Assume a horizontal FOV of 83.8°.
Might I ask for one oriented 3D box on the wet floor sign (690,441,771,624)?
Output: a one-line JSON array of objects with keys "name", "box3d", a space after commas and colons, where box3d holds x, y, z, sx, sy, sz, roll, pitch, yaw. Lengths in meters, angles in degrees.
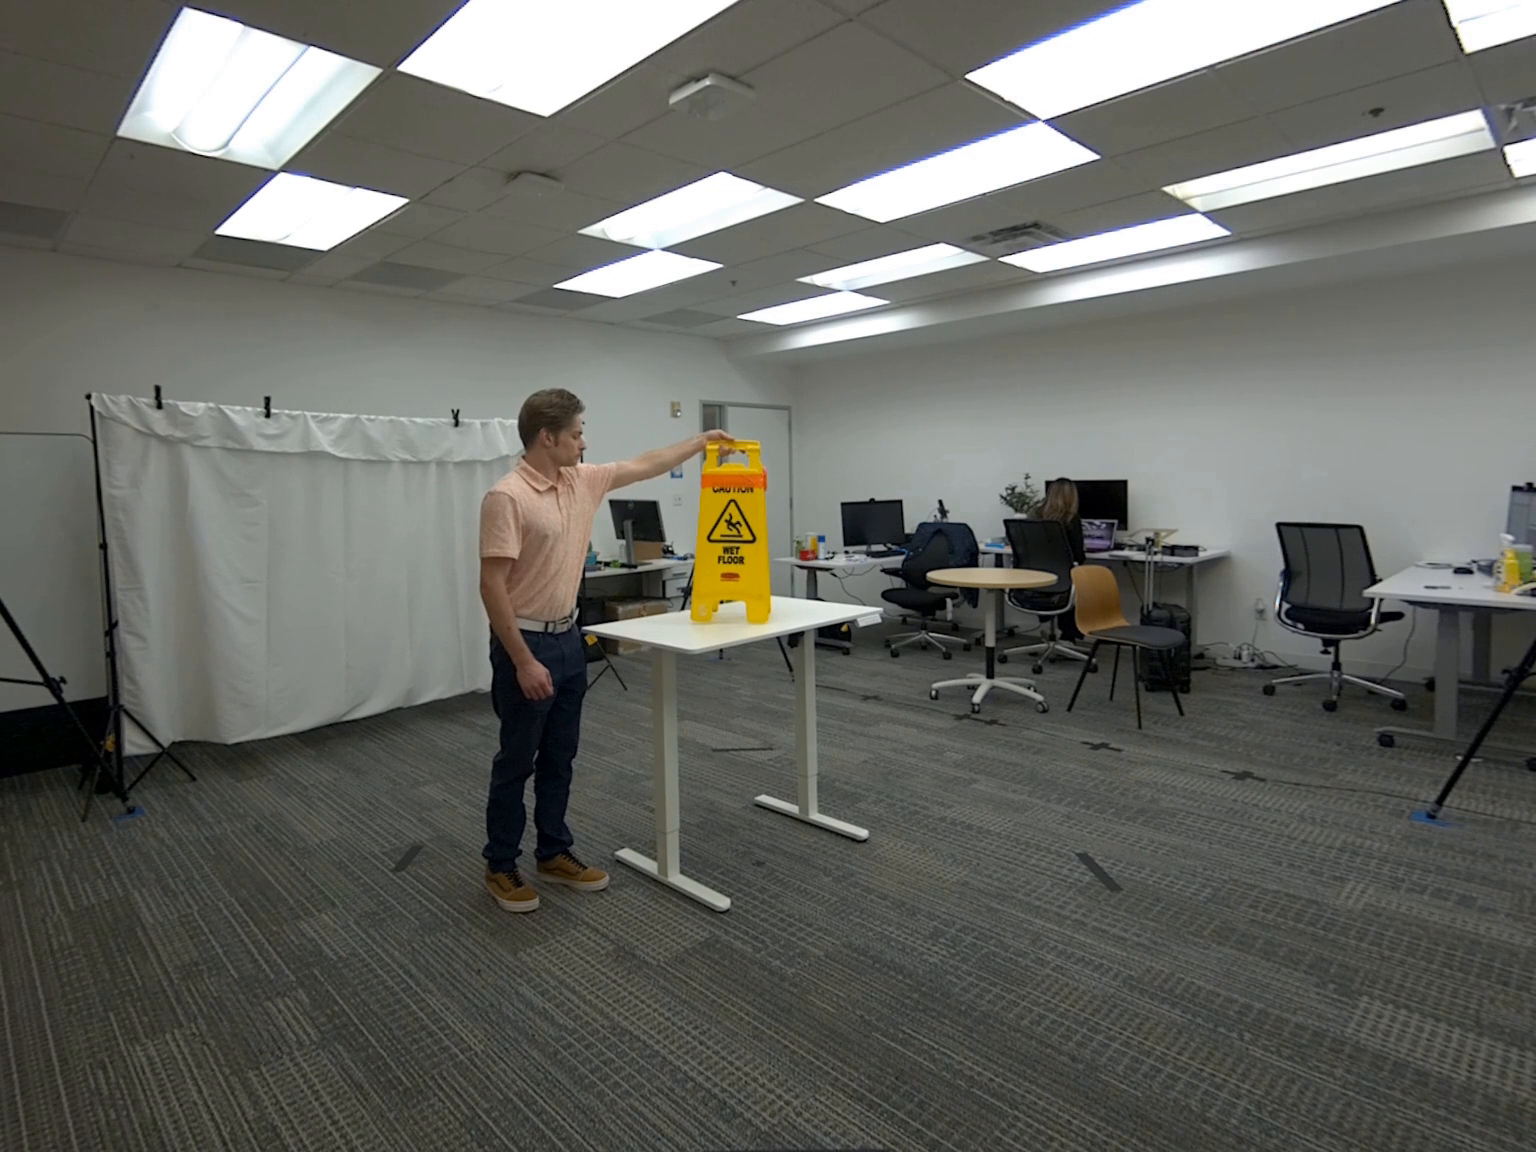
[{"name": "wet floor sign", "box3d": [-0.127, -0.169, 3.149, 0.282, 0.643, 0.291, 0, 5, -1]}]
